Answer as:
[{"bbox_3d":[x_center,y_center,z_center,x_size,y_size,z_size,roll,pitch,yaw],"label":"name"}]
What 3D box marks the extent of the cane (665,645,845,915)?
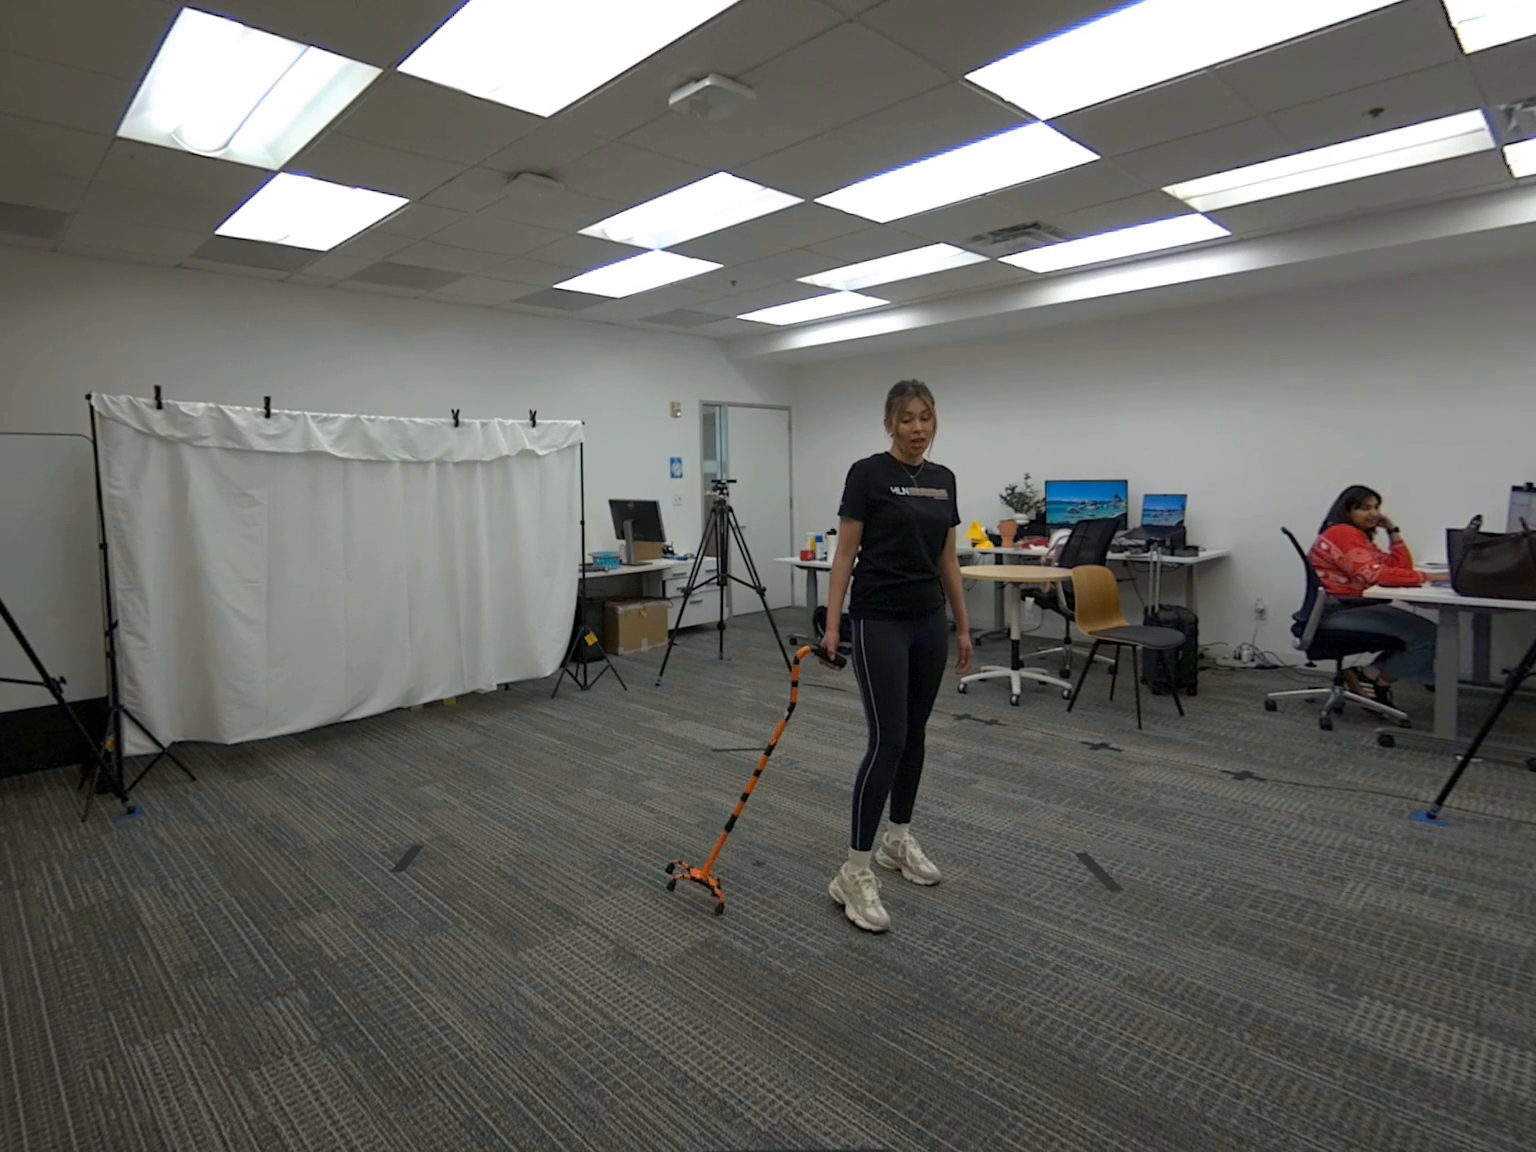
[{"bbox_3d":[-0.034,0.640,2.803,0.205,0.908,0.153,27,0,-6],"label":"cane"}]
